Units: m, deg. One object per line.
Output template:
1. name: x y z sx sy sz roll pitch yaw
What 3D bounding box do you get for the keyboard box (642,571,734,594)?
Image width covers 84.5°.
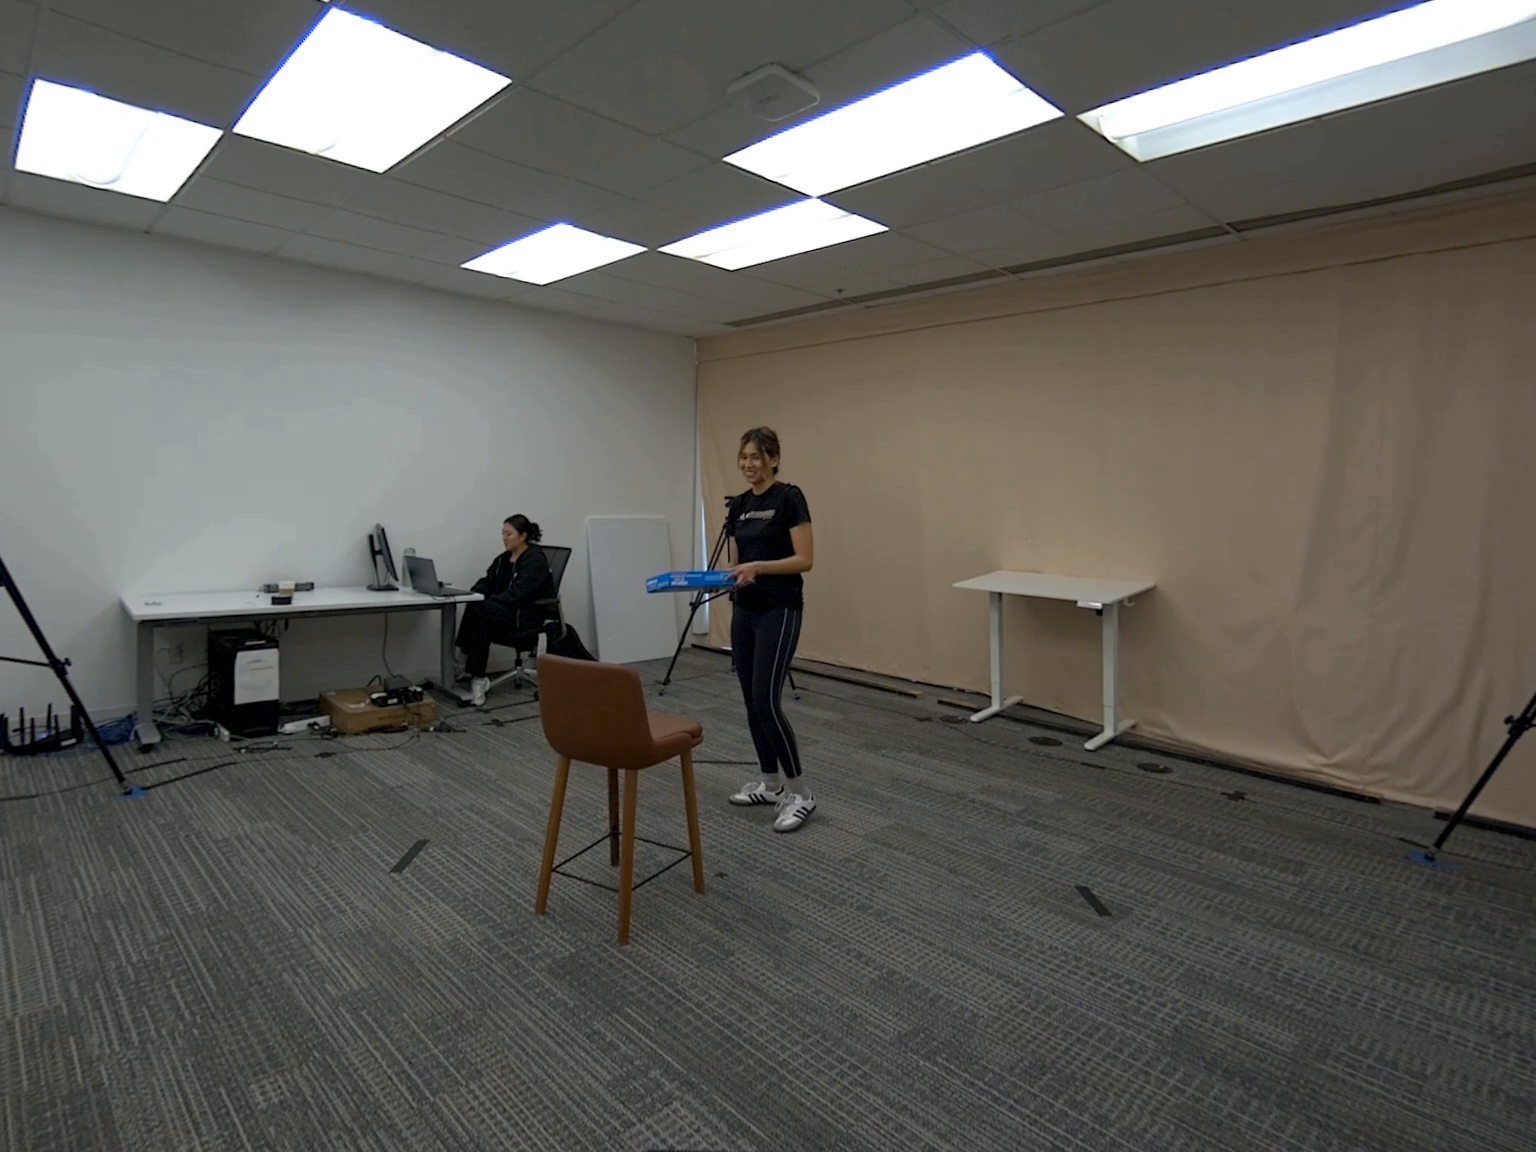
1. keyboard box: -0.283 0.026 3.489 0.426 0.059 0.179 1 -11 -39
